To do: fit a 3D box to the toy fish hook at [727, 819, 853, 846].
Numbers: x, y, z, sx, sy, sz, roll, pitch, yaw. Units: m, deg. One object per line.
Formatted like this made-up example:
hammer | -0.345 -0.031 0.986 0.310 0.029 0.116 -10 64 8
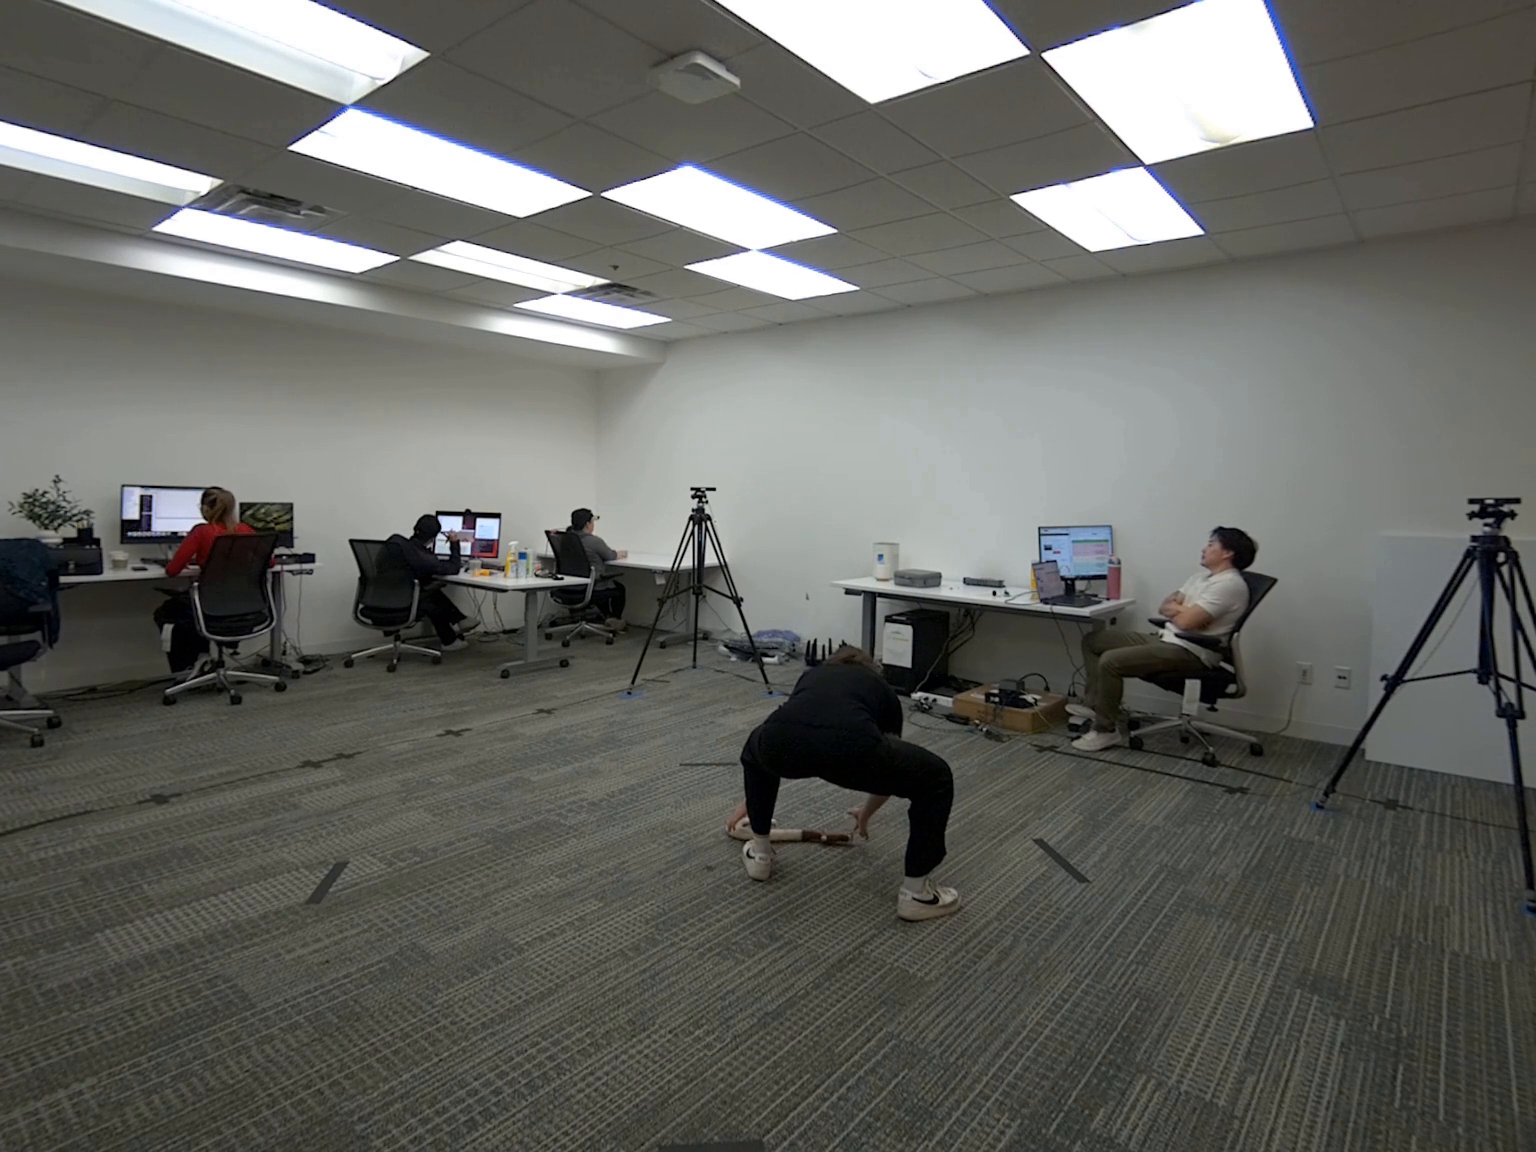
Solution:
toy fish hook | 0.084 1.020 3.430 0.511 0.048 0.224 2 8 7
